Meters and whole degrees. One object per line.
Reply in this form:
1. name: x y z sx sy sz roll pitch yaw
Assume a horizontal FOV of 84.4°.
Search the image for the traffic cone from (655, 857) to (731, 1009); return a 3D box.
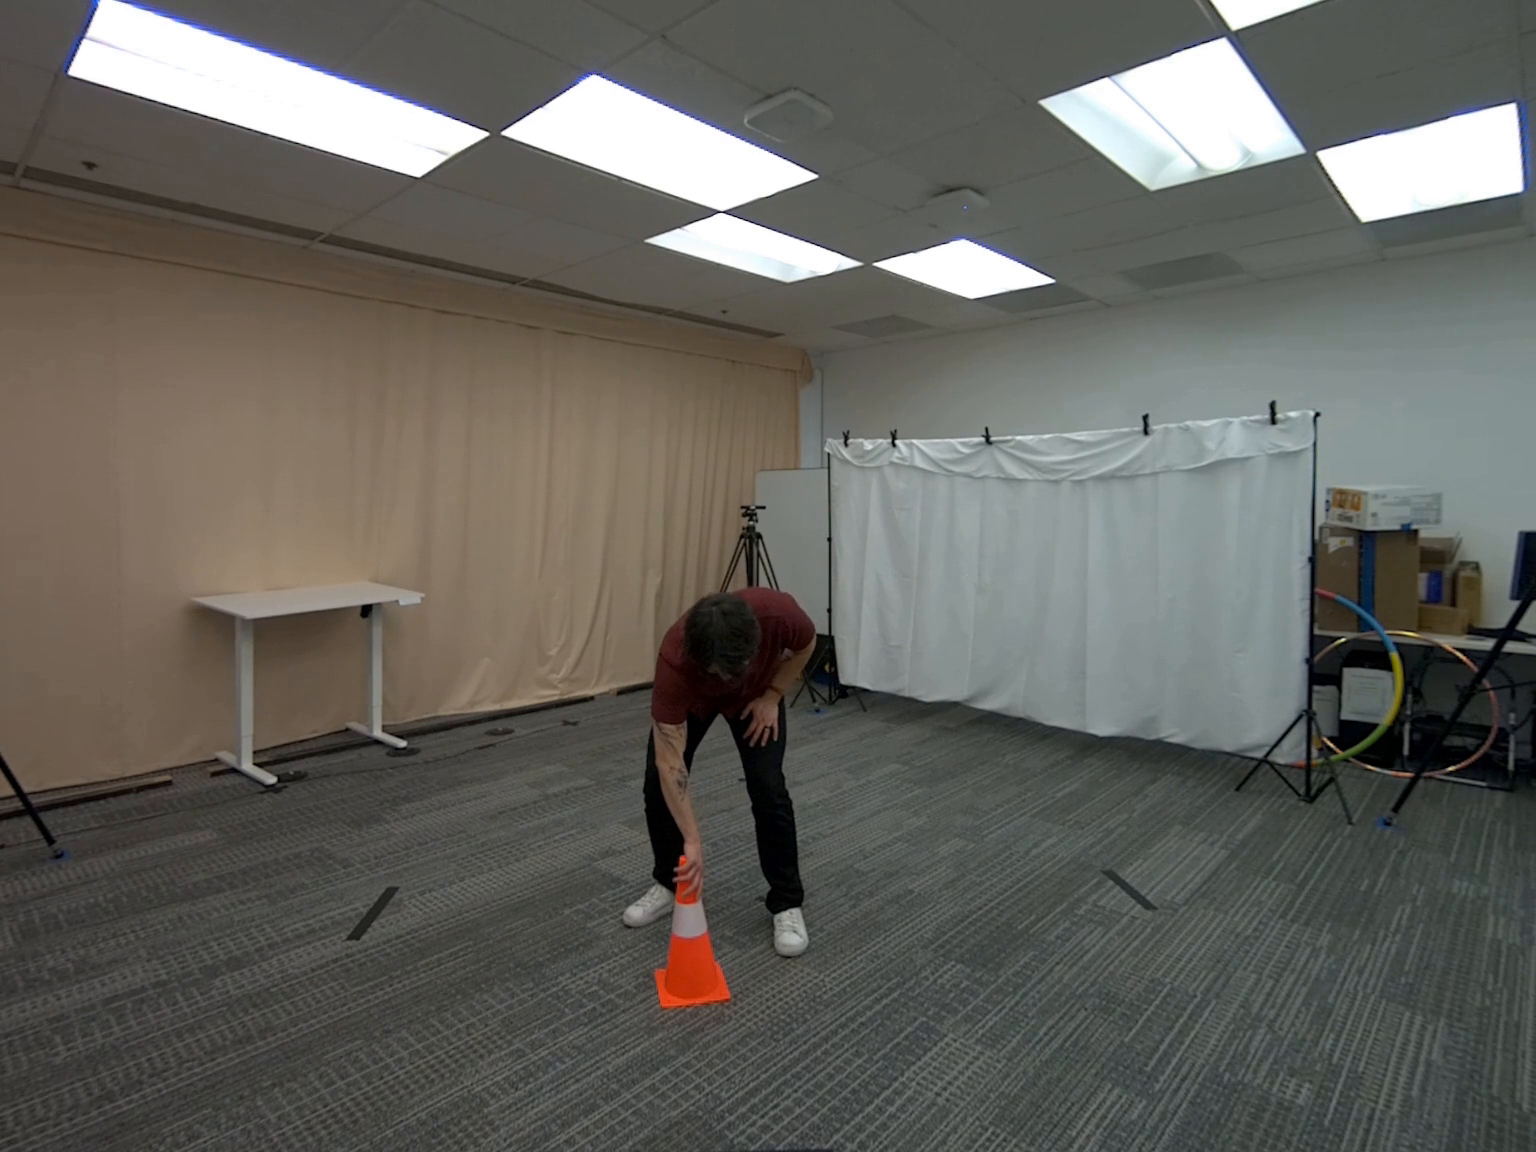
1. traffic cone: -0.225 1.000 2.428 0.201 0.382 0.208 -3 5 -13
